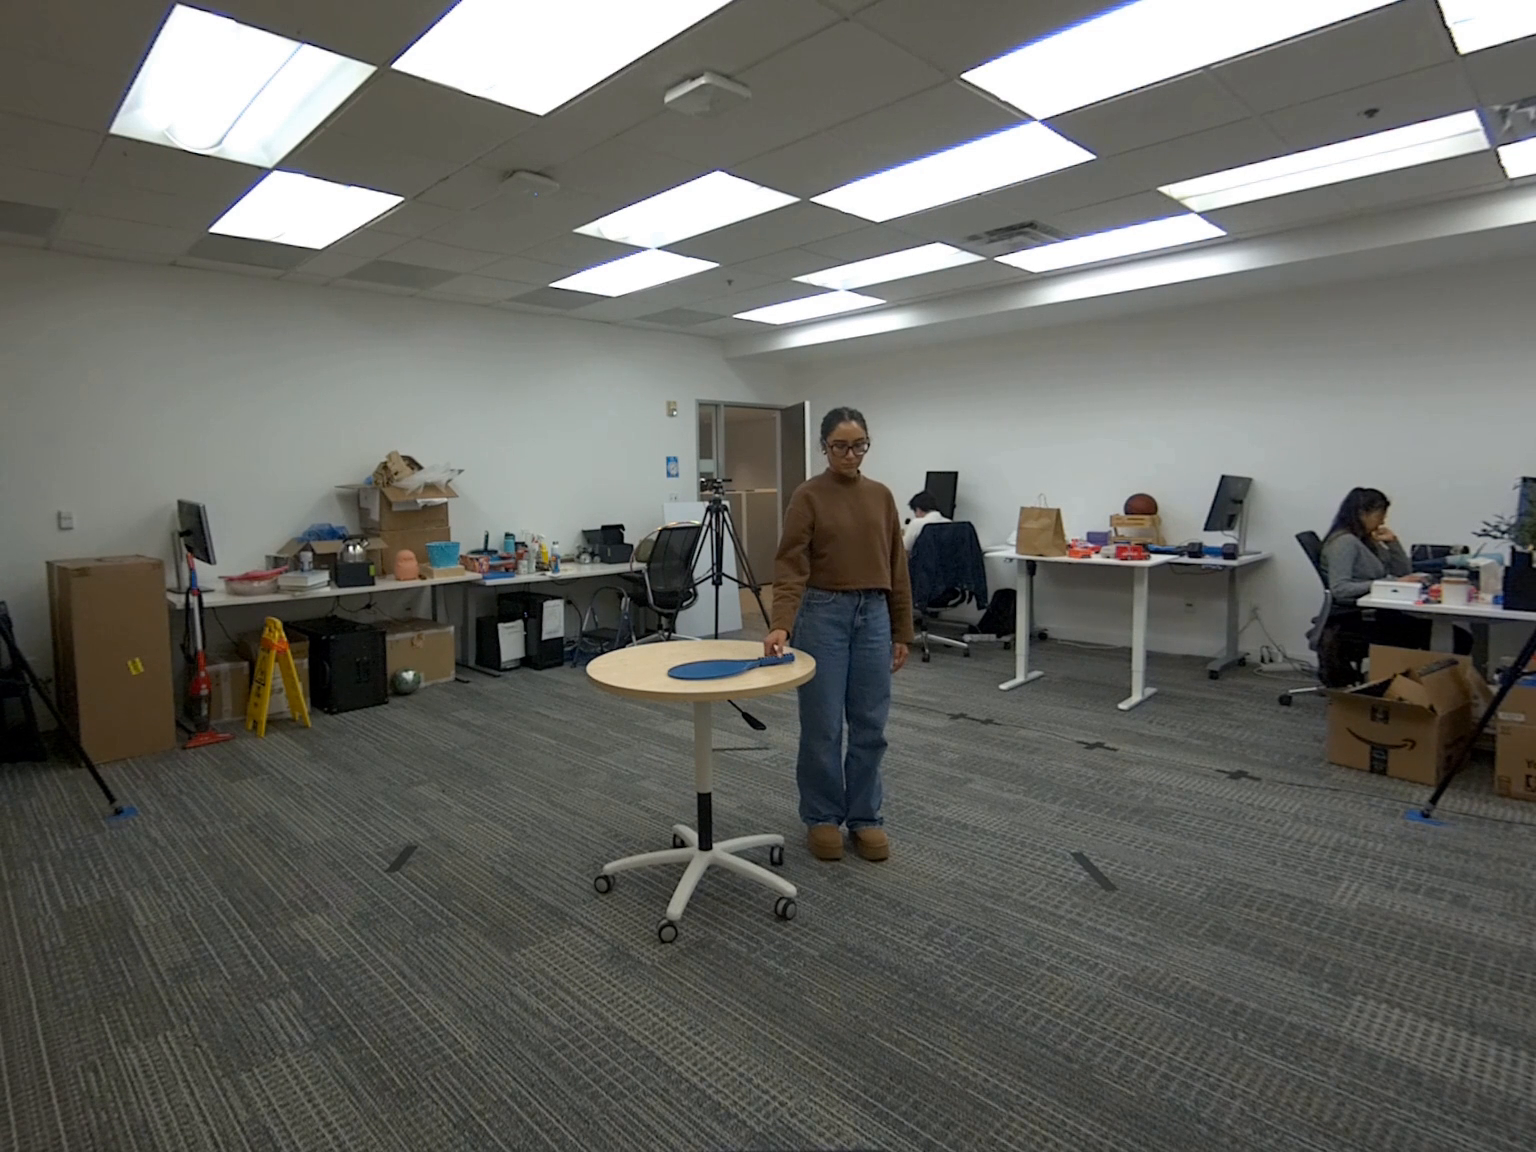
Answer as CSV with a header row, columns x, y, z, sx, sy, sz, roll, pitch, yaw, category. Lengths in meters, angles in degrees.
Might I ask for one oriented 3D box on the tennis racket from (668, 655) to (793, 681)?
x,y,z,sx,sy,sz,roll,pitch,yaw,category
-0.111,0.296,2.759,0.425,0.031,0.219,-6,8,-22,tennis racket
